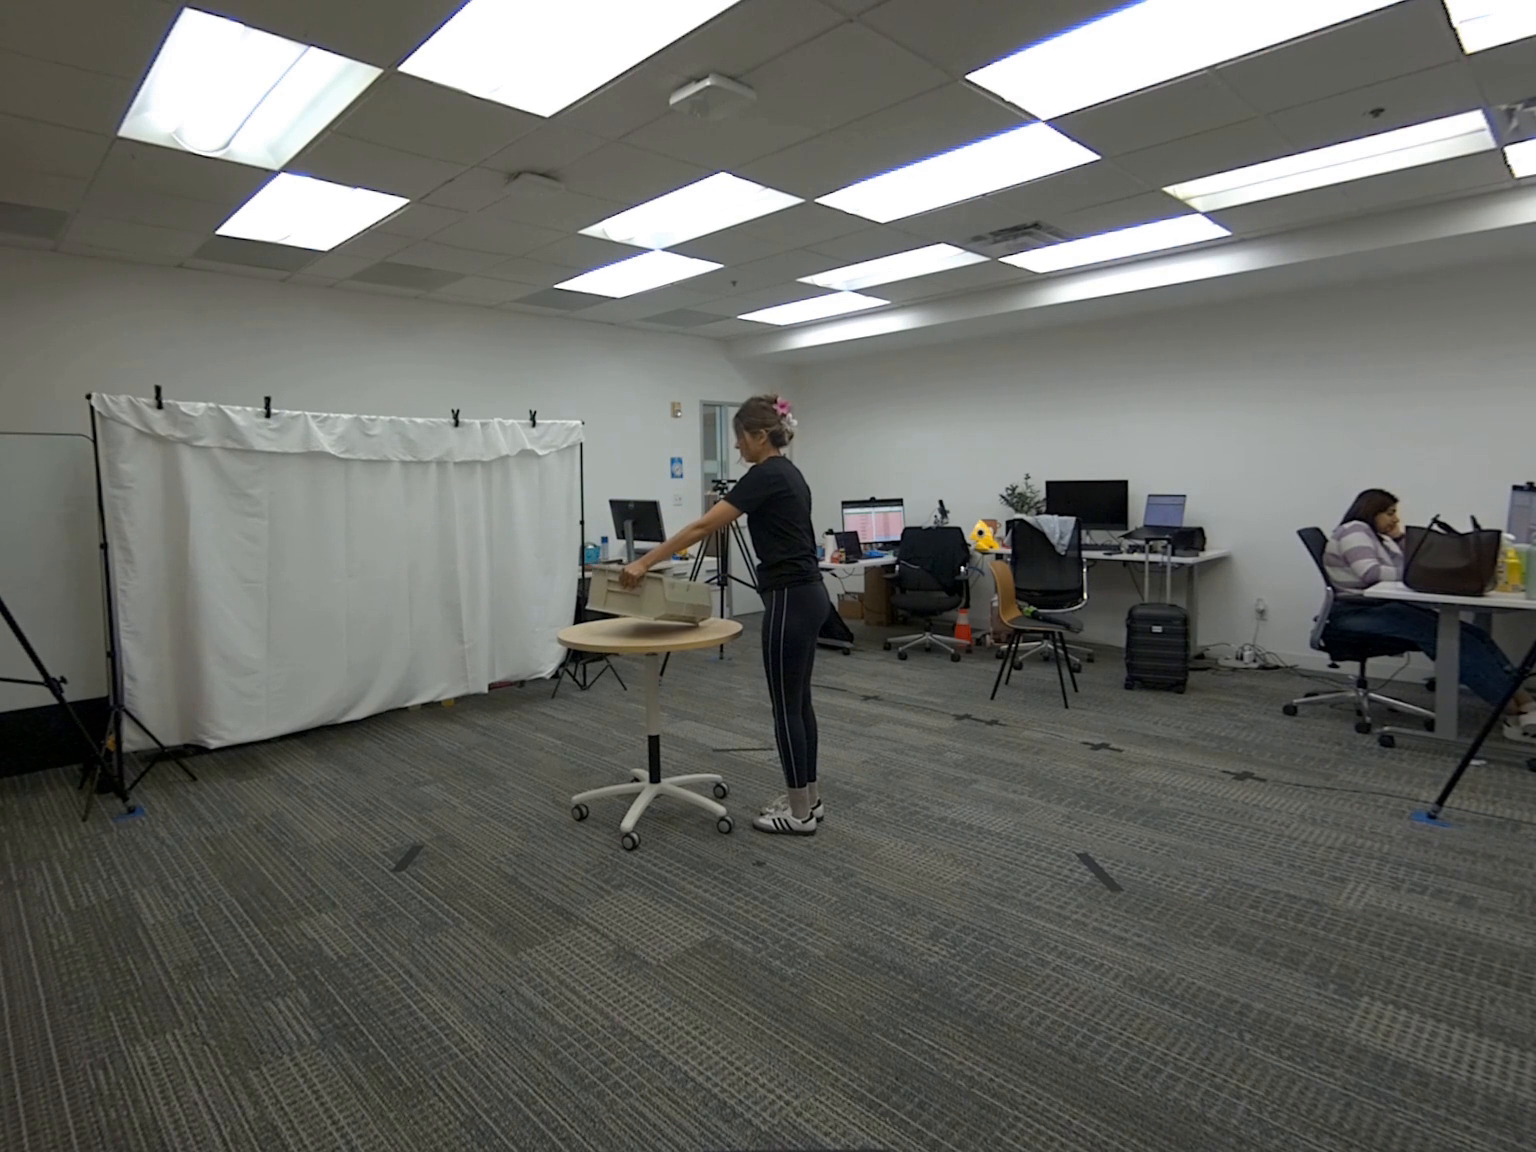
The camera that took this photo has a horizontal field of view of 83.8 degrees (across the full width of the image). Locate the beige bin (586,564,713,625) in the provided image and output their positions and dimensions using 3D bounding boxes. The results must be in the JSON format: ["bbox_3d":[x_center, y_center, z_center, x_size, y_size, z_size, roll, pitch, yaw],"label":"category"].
[{"bbox_3d":[-0.474,0.084,3.507,0.386,0.189,0.411,7,-3,23],"label":"beige bin"}]
